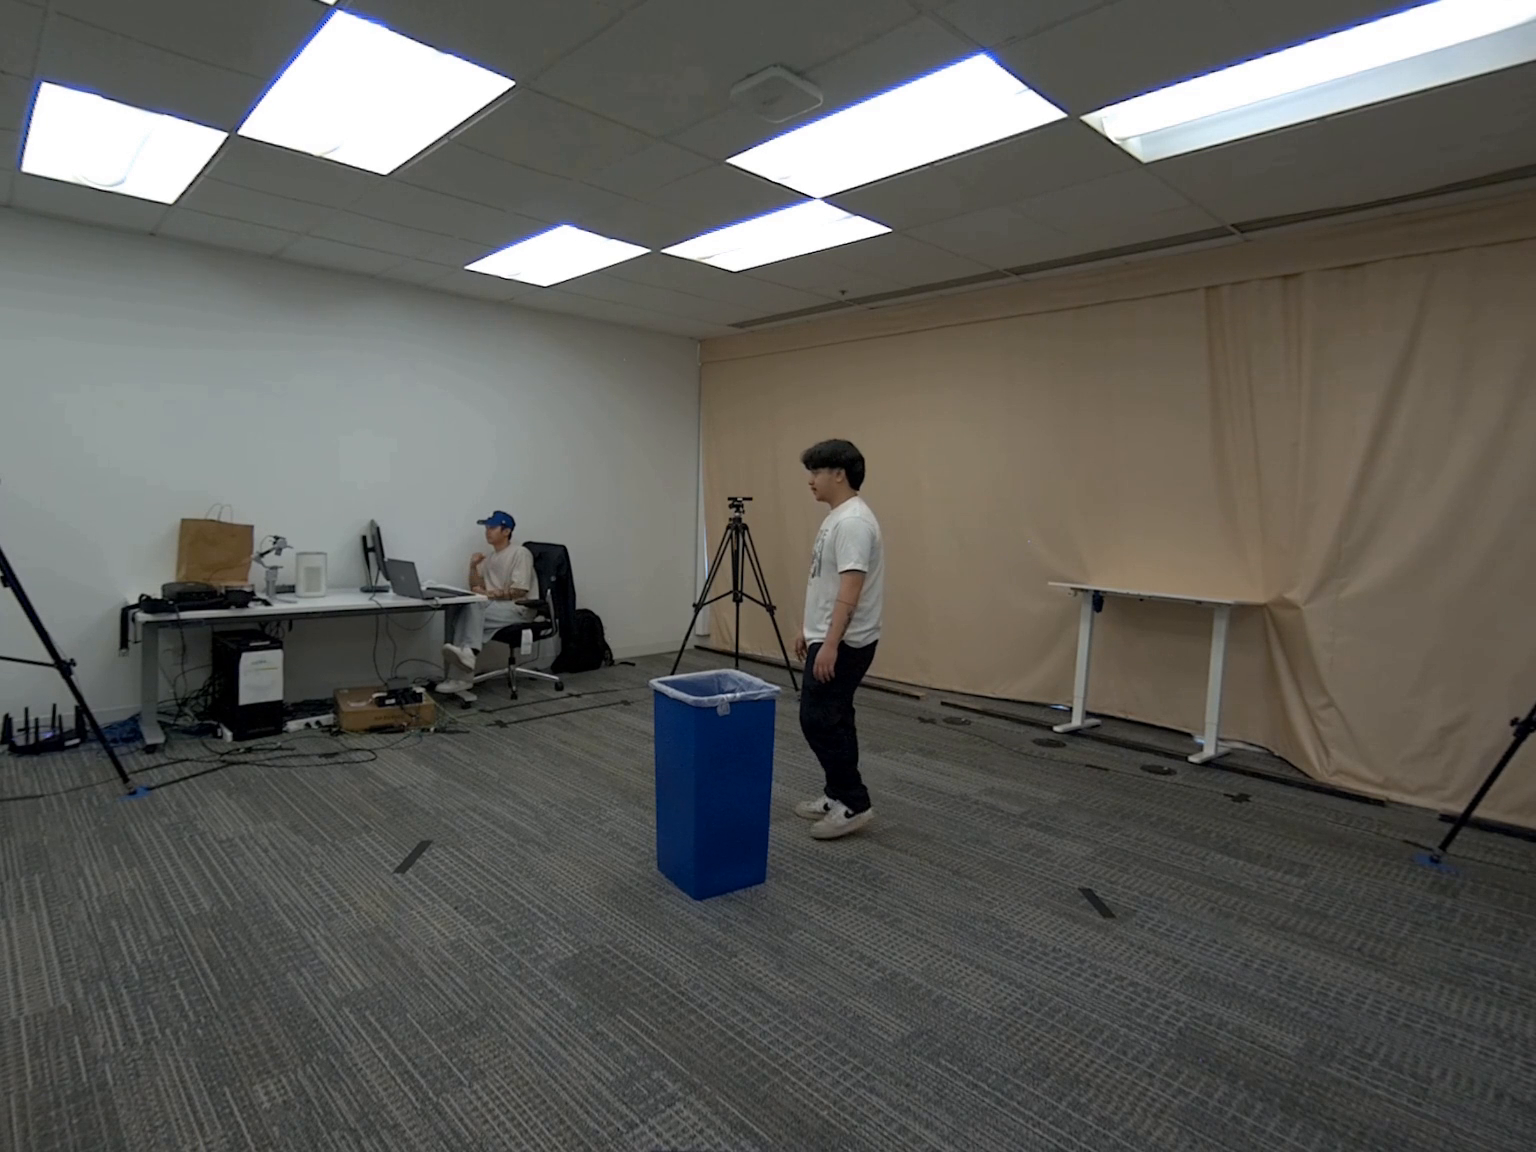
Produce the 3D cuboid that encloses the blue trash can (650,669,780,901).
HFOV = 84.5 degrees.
[{"bbox_3d":[-0.216,0.749,3.095,0.370,0.712,0.383,-1,4,-34],"label":"blue trash can"}]
